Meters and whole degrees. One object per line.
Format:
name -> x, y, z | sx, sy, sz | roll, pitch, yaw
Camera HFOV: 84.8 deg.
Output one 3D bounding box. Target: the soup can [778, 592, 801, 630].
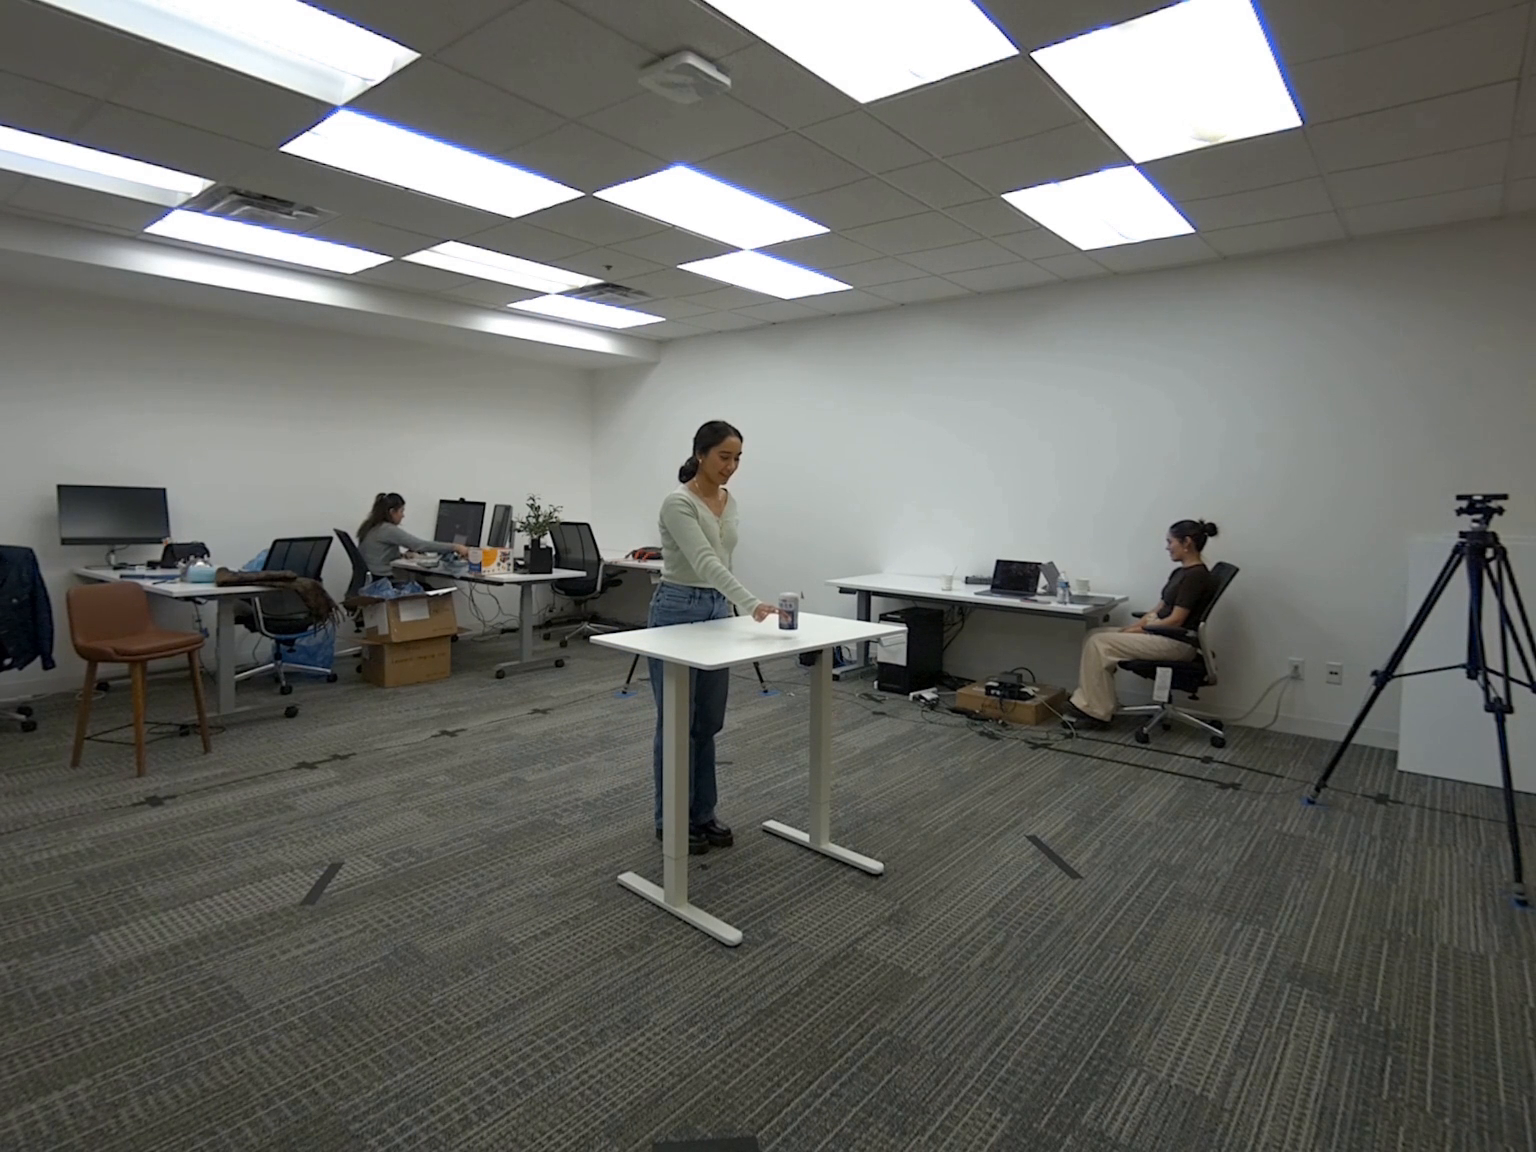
soup can -> 0.061, 0.116, 2.882 | 0.067, 0.121, 0.067 | 2, 2, -2
